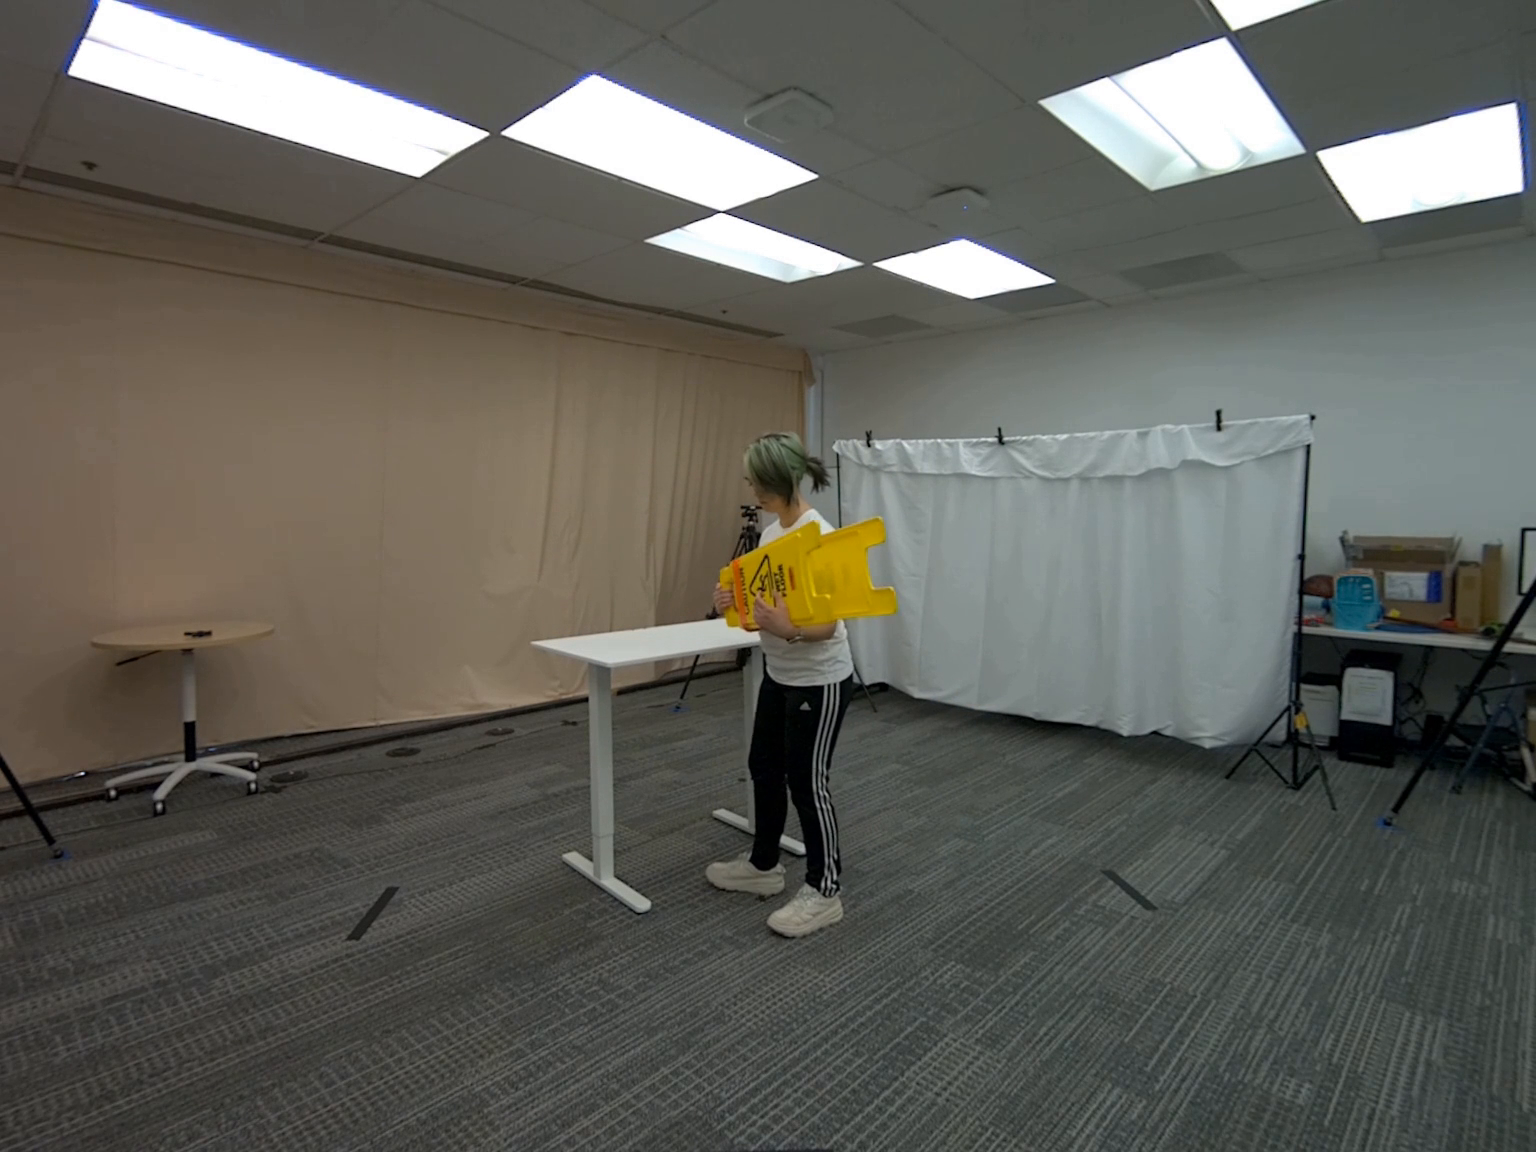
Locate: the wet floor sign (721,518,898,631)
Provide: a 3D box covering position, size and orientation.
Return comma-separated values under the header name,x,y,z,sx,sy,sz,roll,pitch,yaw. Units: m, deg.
name,x,y,z,sx,sy,sz,roll,pitch,yaw
wet floor sign,0.052,0.027,2.569,0.281,0.284,0.662,-3,-7,-37
